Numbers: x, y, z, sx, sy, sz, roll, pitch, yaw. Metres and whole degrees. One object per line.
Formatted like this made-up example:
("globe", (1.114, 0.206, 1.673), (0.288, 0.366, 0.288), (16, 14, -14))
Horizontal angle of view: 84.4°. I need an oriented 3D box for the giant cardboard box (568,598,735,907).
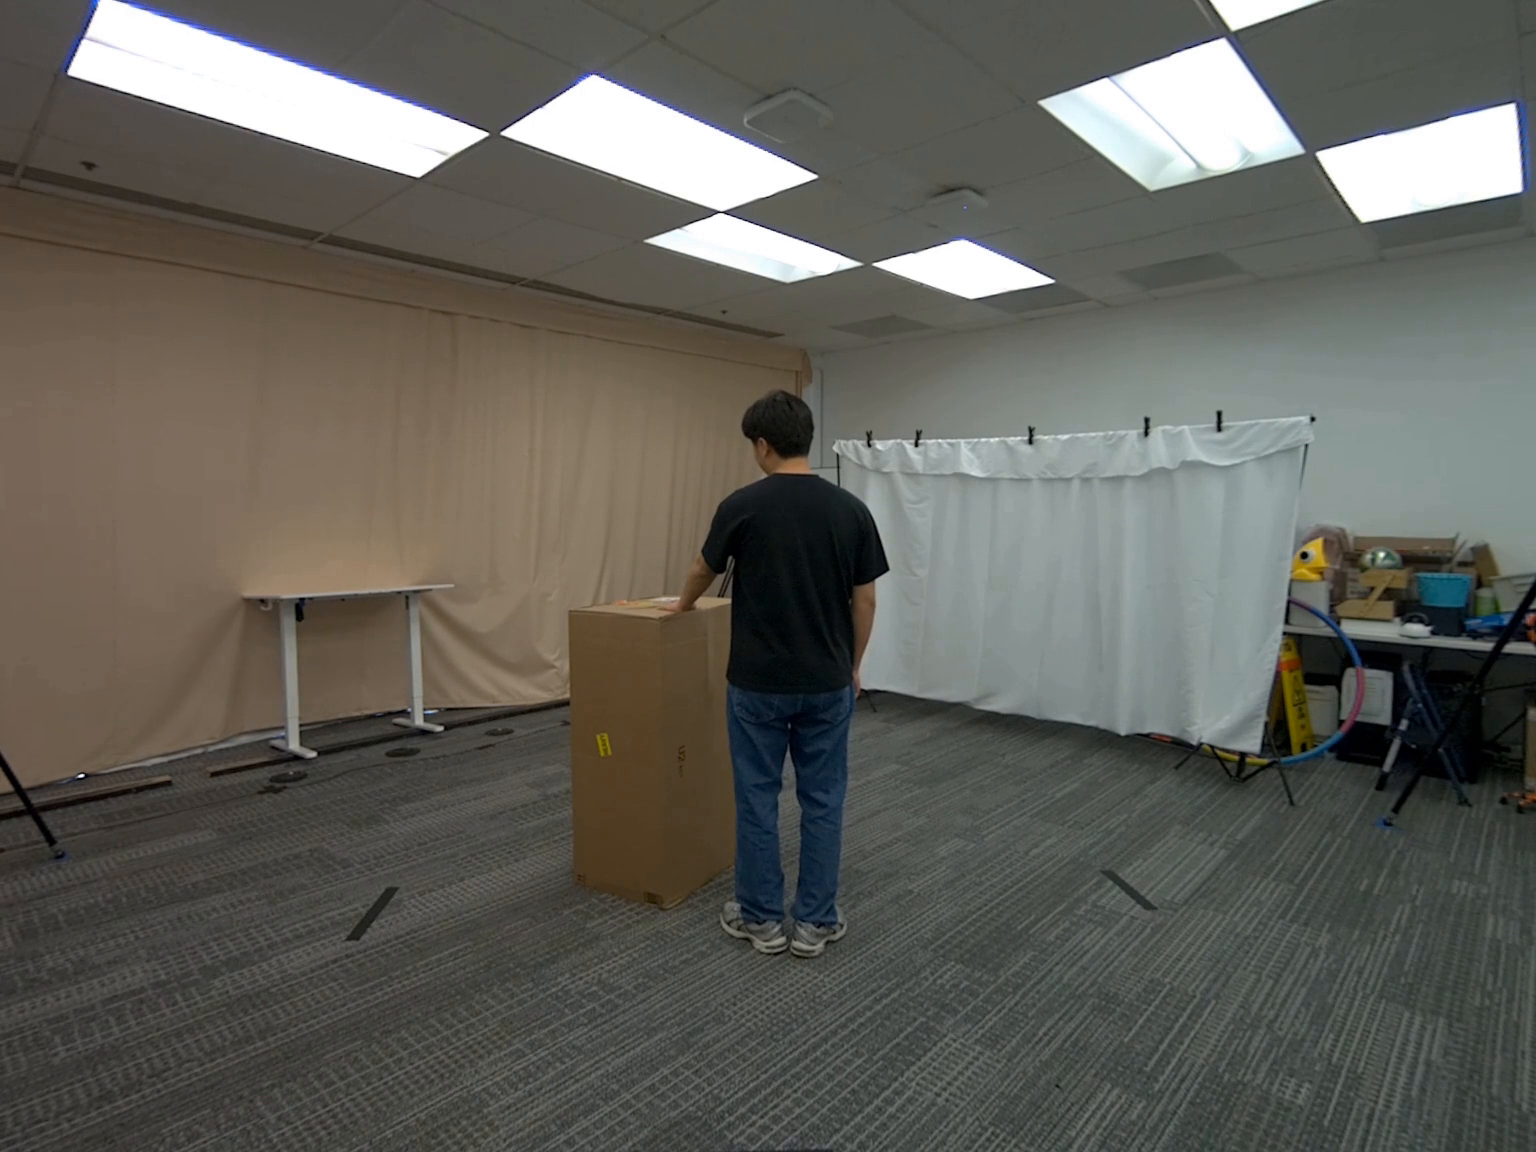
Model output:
("giant cardboard box", (-0.406, 0.614, 3.226), (0.460, 1.025, 0.568), (1, 3, 32))
